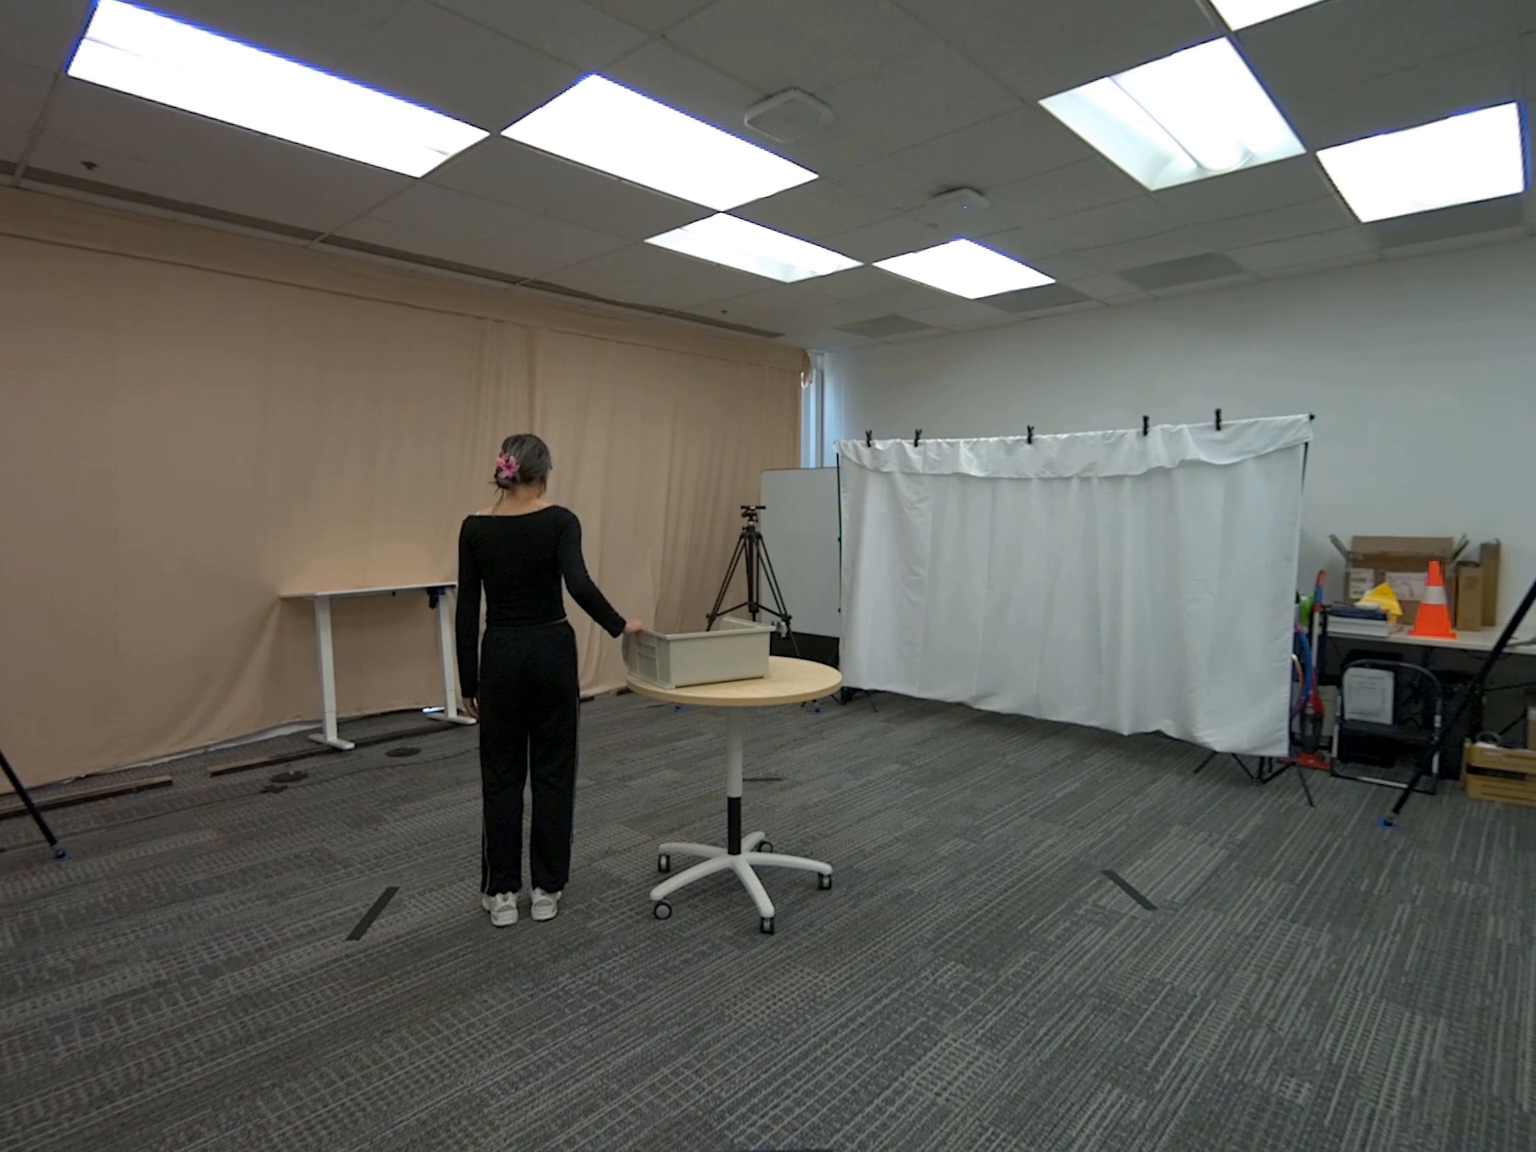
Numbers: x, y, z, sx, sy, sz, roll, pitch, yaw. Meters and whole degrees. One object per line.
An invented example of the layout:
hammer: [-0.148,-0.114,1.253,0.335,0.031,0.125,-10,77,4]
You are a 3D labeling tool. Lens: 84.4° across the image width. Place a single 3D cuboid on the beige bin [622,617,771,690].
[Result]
beige bin: [-0.255,0.263,2.981,0.411,0.188,0.389,-2,6,-31]
